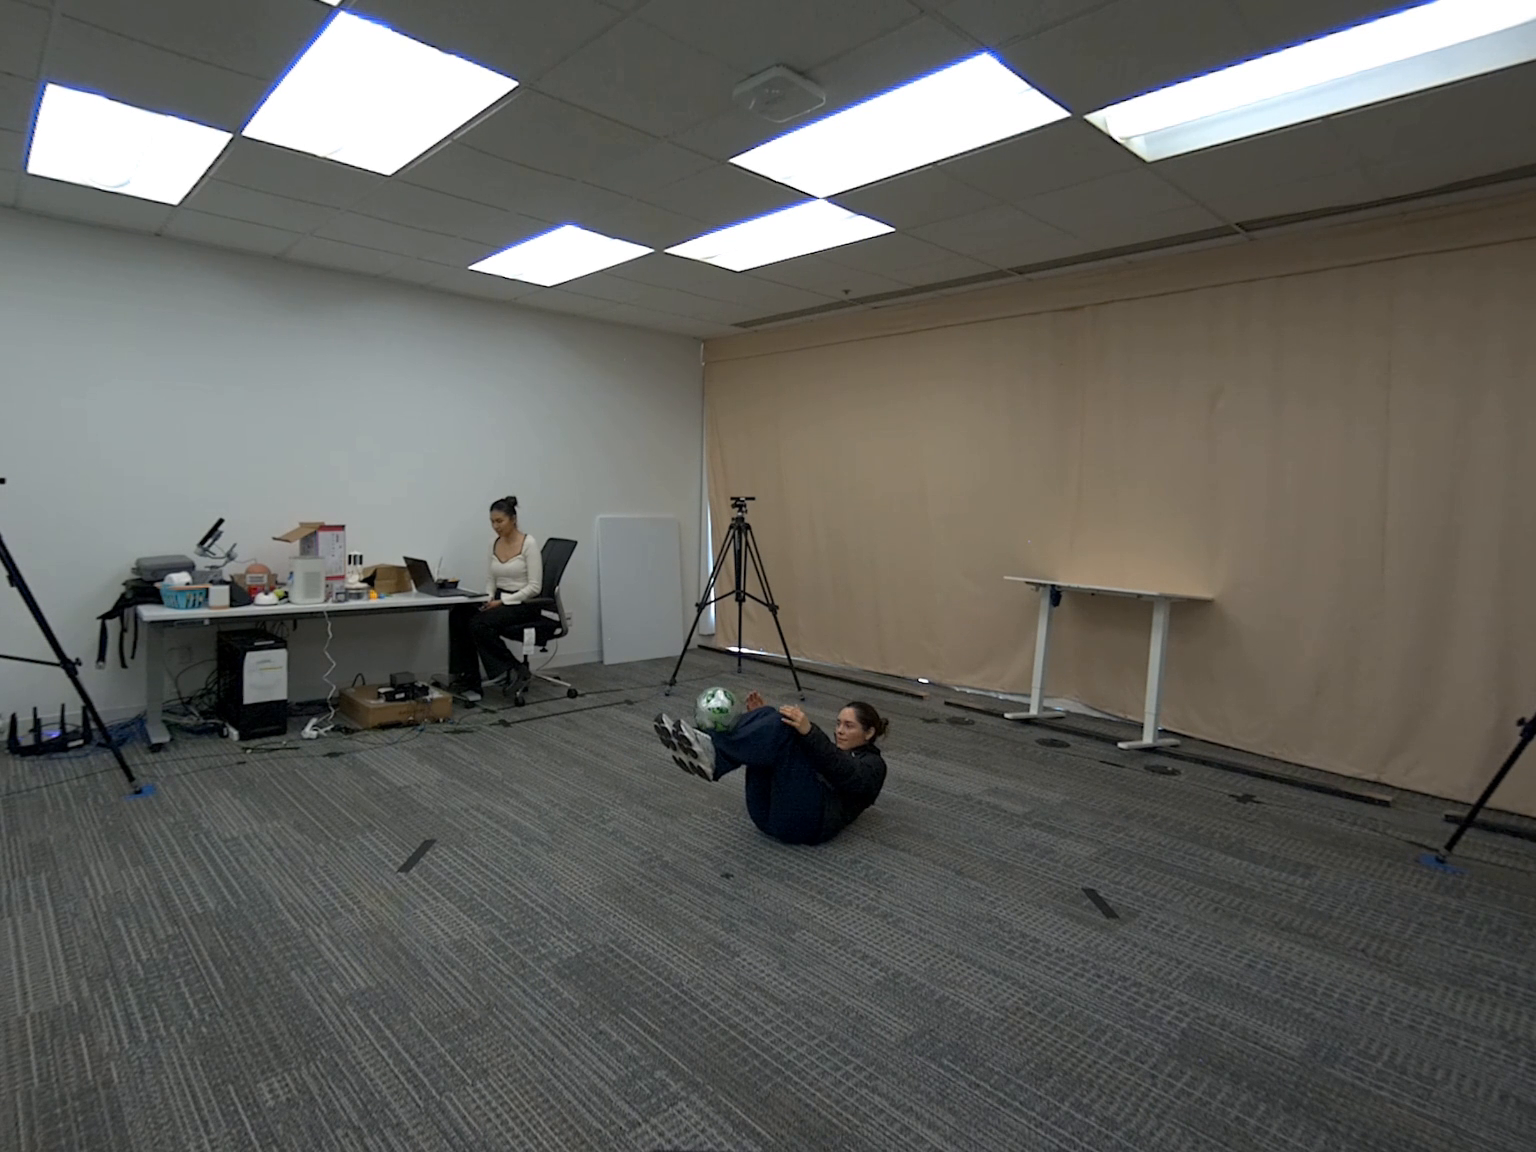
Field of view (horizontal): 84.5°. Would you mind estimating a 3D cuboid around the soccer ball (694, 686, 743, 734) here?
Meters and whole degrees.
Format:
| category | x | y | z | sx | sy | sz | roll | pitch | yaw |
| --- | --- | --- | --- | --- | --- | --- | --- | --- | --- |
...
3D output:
| category | x | y | z | sx | sy | sz | roll | pitch | yaw |
| --- | --- | --- | --- | --- | --- | --- | --- | --- | --- |
| soccer ball | -0.199 | 0.522 | 3.261 | 0.187 | 0.186 | 0.188 | 0 | 7 | -1 |
